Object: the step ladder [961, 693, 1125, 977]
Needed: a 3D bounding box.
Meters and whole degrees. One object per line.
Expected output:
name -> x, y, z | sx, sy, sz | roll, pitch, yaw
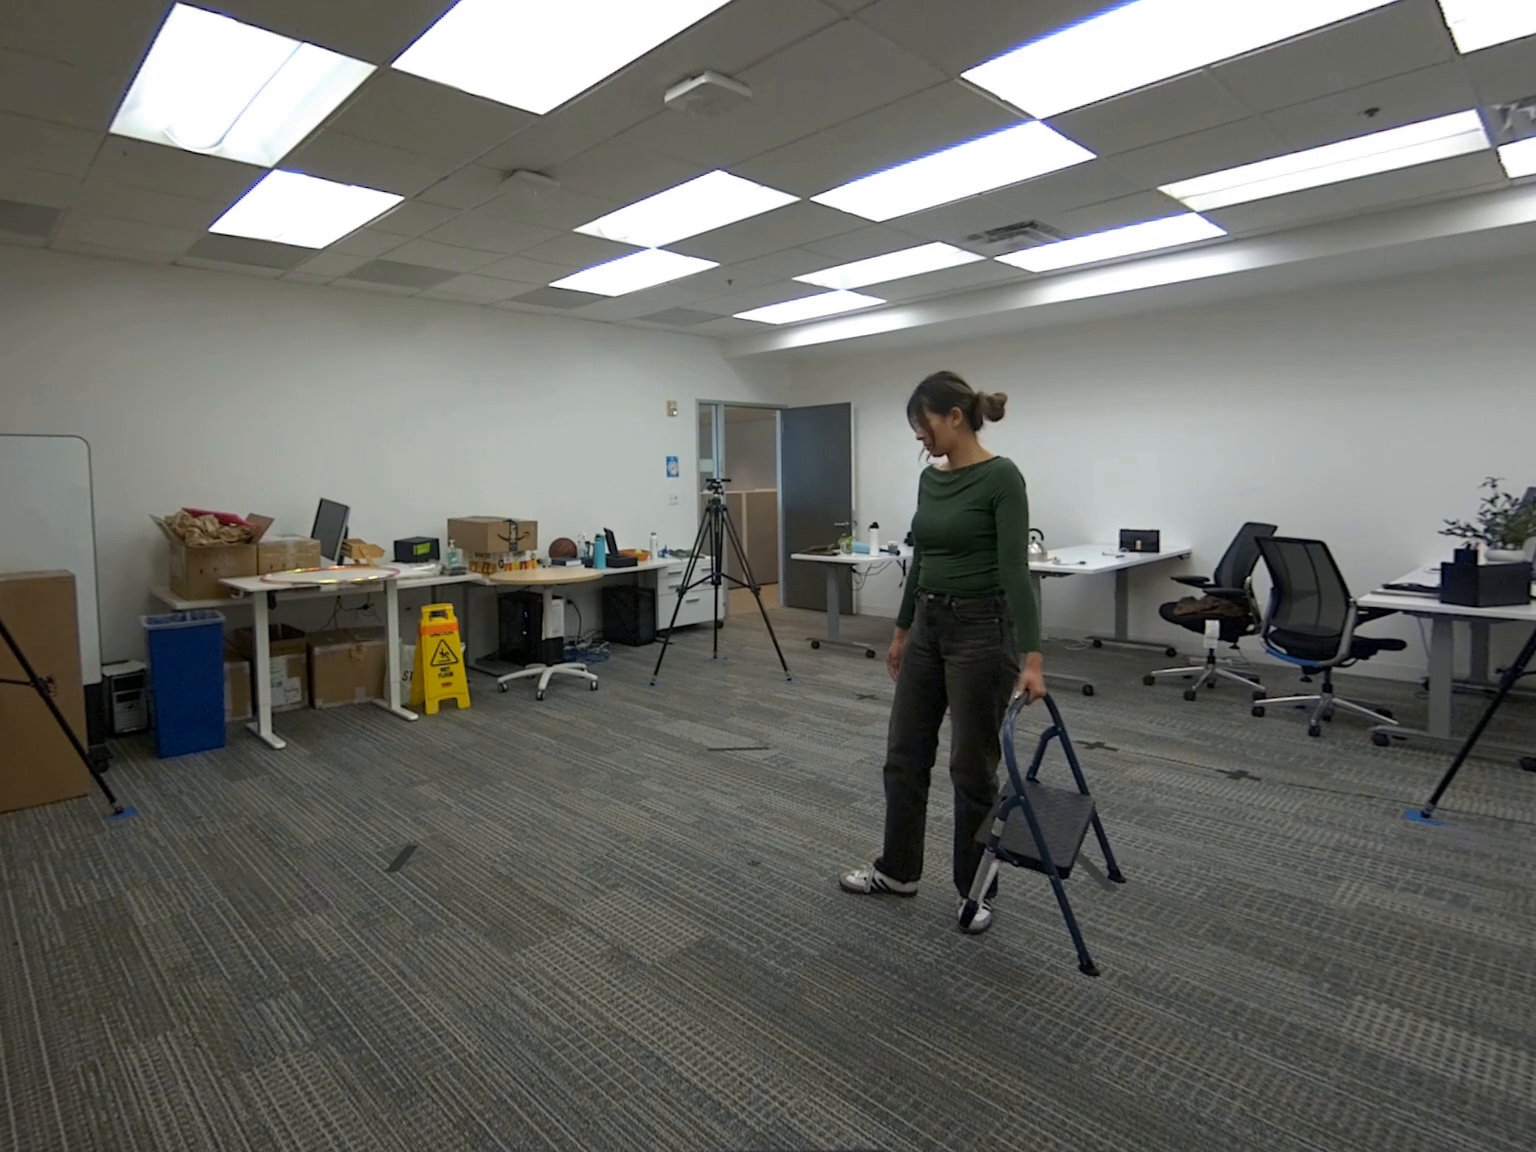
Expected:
step ladder -> 0.759, 0.629, 2.291 | 0.359, 0.597, 0.425 | 6, 18, 30
